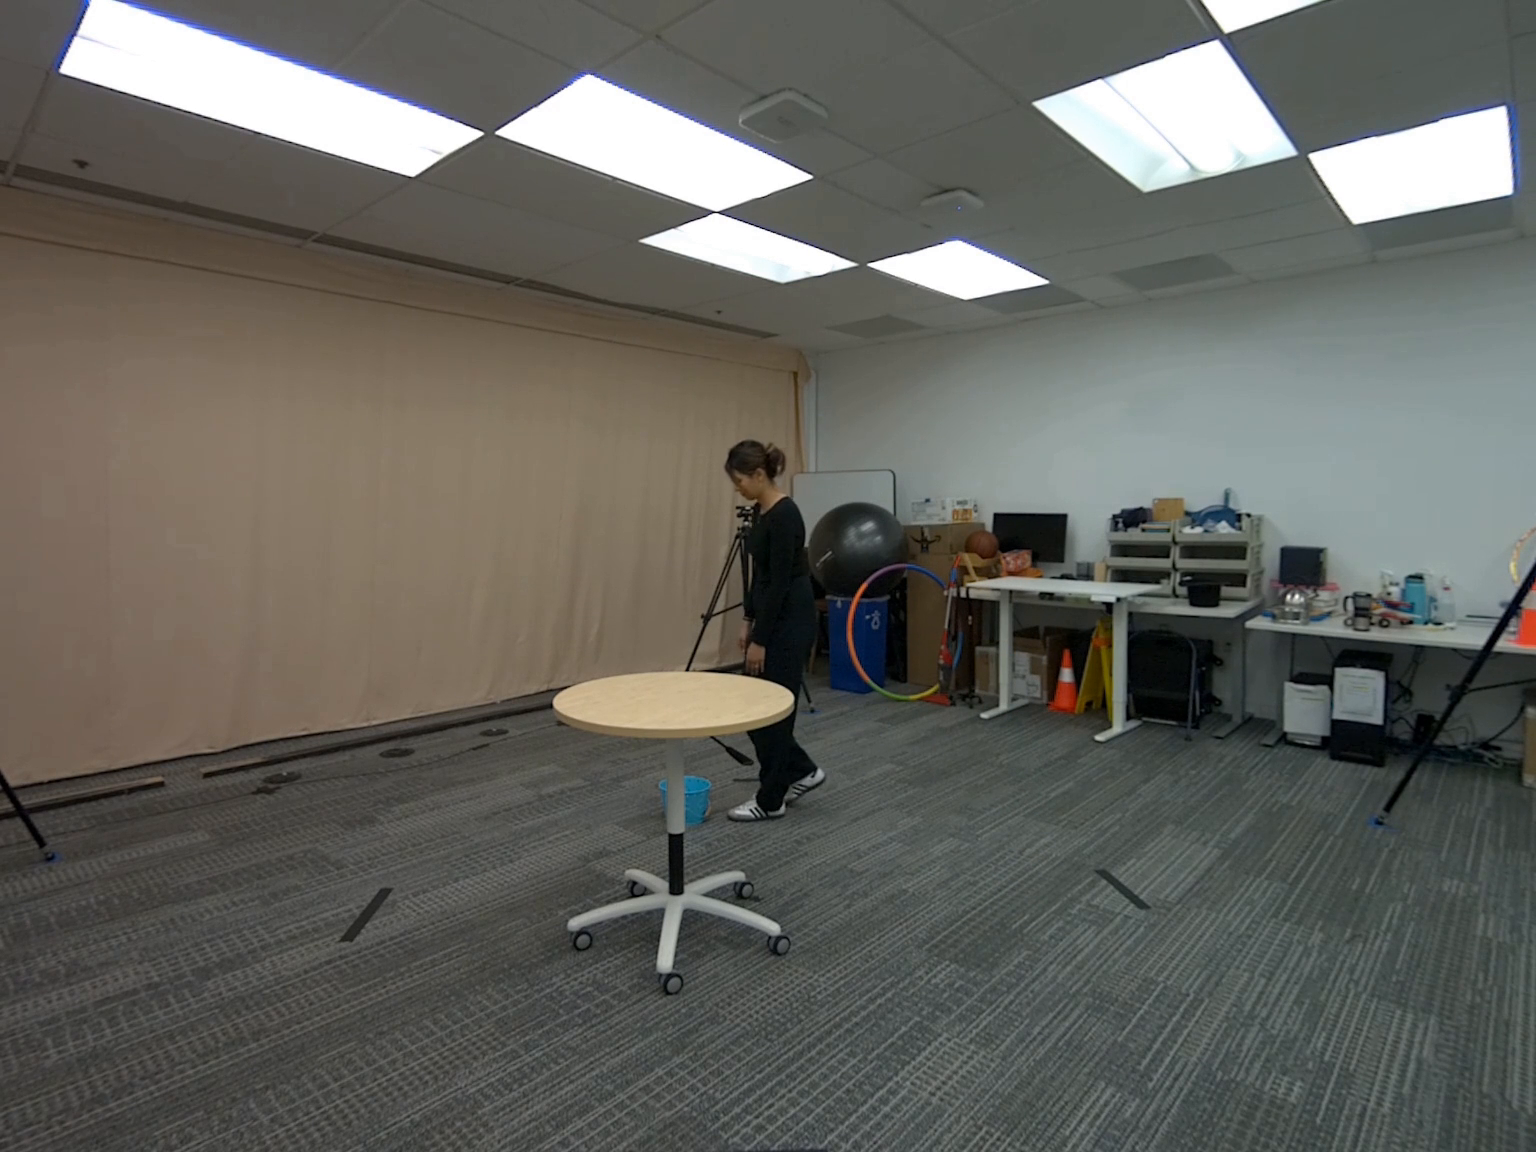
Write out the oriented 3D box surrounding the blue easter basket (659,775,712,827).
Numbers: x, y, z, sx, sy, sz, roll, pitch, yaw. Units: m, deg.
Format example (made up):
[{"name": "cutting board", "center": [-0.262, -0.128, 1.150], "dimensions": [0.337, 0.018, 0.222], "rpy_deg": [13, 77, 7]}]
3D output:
[{"name": "blue easter basket", "center": [-0.363, 1.010, 3.768], "dimensions": [0.243, 0.155, 0.244], "rpy_deg": [0, 4, -2]}]
